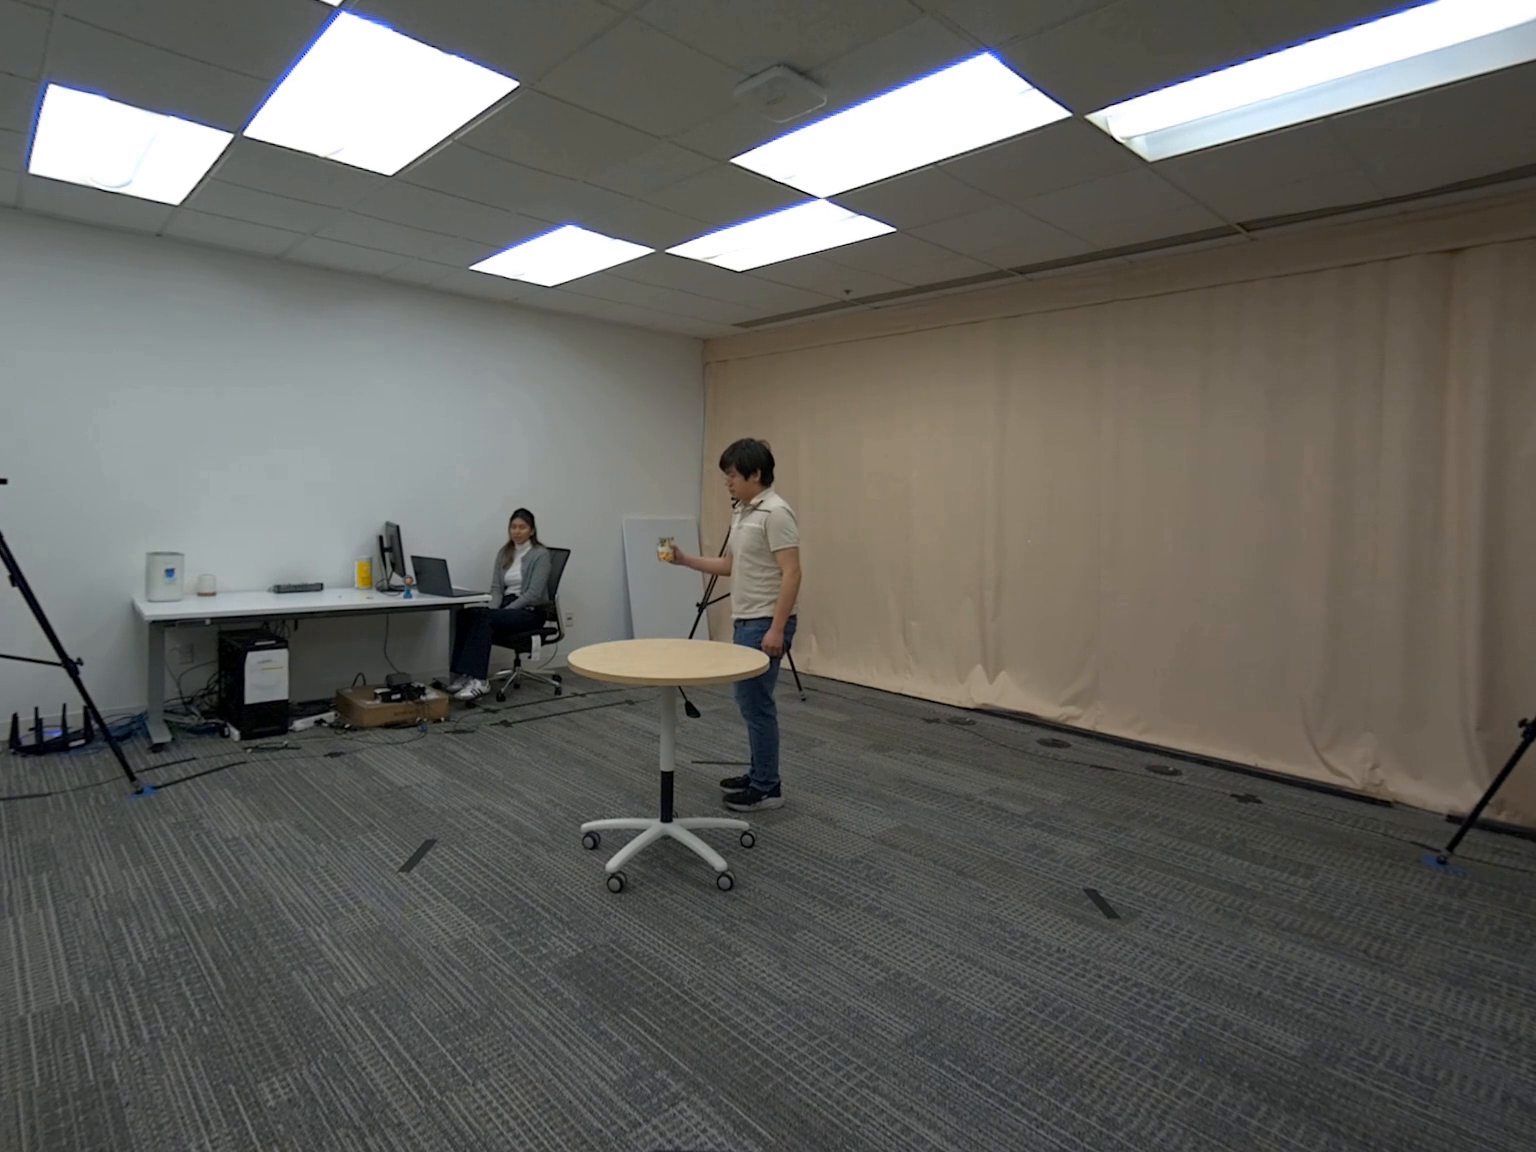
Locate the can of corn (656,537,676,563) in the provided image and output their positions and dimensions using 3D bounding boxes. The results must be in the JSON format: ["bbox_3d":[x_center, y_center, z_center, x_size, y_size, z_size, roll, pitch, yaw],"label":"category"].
[{"bbox_3d":[-0.482,-0.111,3.977,0.074,0.111,0.074,1,0,-1],"label":"can of corn"}]
